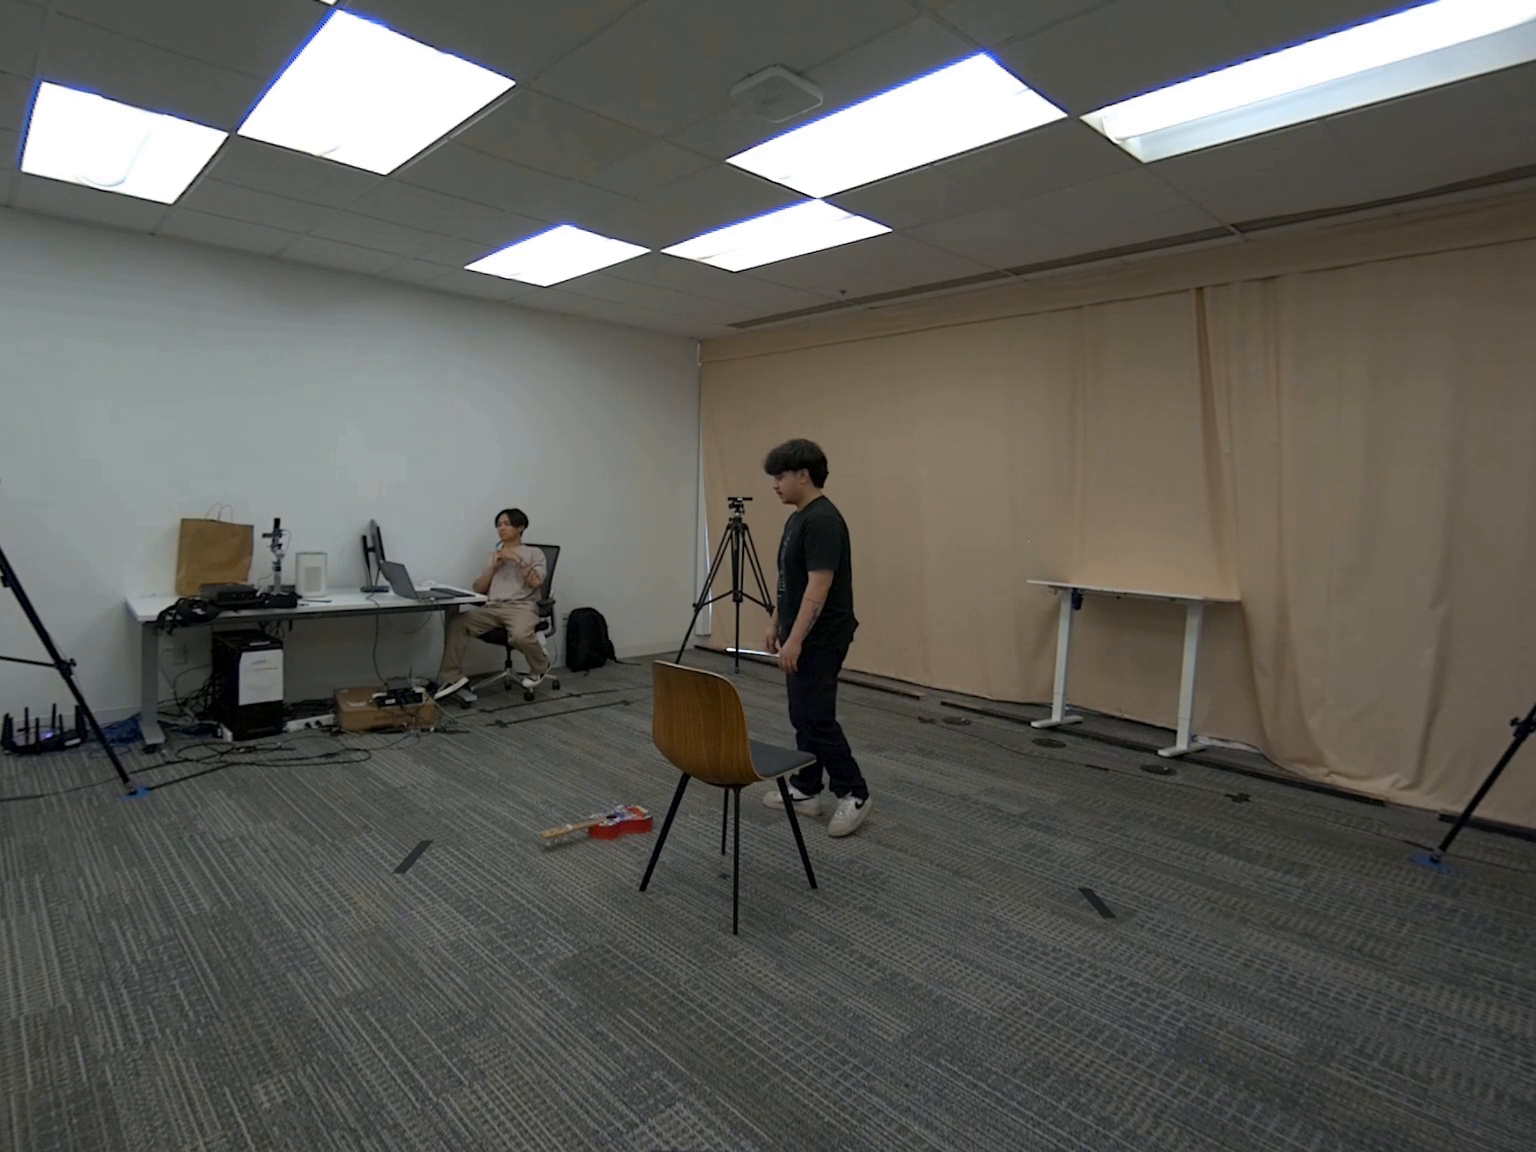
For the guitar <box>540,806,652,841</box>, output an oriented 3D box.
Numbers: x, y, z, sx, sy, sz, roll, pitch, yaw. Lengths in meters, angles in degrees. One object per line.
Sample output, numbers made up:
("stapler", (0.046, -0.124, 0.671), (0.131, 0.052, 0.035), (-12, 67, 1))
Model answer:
("guitar", (-0.731, 1.028, 3.473), (0.487, 0.070, 0.198), (-2, 6, -32))
